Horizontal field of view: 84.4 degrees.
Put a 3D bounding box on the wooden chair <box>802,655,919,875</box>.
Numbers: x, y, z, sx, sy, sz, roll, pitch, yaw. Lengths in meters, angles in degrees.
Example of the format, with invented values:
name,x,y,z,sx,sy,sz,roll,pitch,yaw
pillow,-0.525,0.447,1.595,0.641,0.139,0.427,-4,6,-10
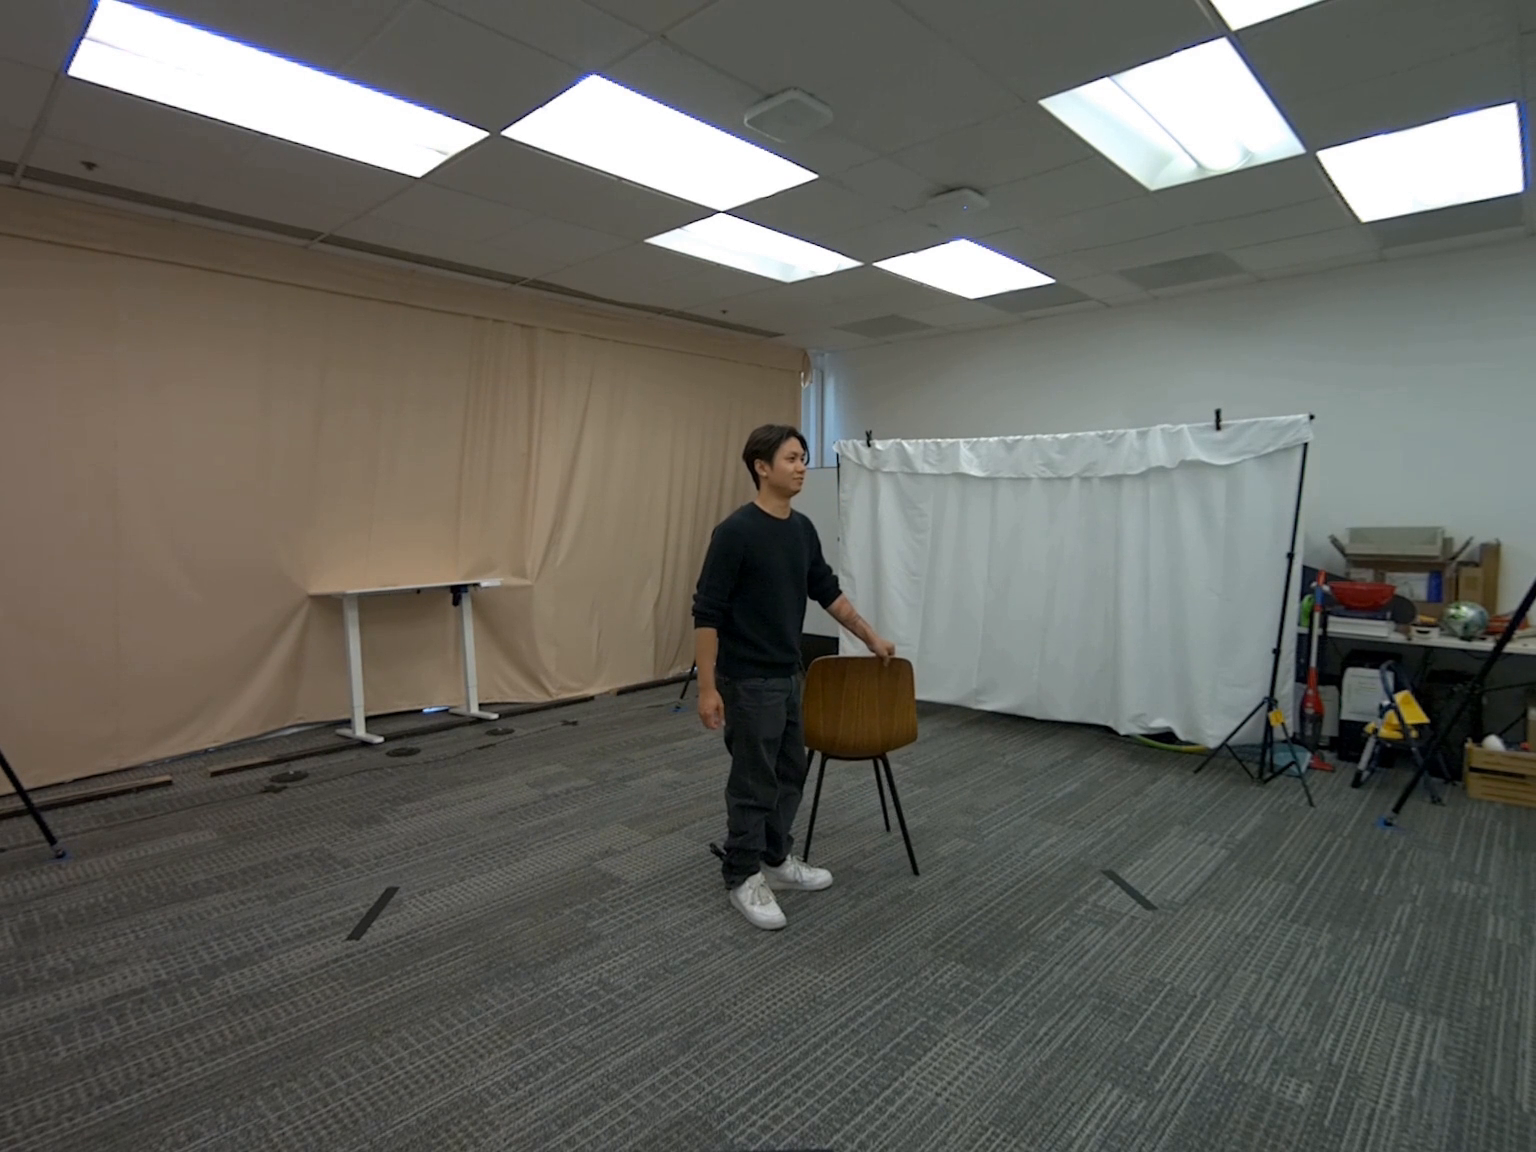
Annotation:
name,x,y,z,sx,sy,sz,roll,pitch,yaw
wooden chair,0.320,0.683,3.358,0.476,0.873,0.528,-1,7,-4
